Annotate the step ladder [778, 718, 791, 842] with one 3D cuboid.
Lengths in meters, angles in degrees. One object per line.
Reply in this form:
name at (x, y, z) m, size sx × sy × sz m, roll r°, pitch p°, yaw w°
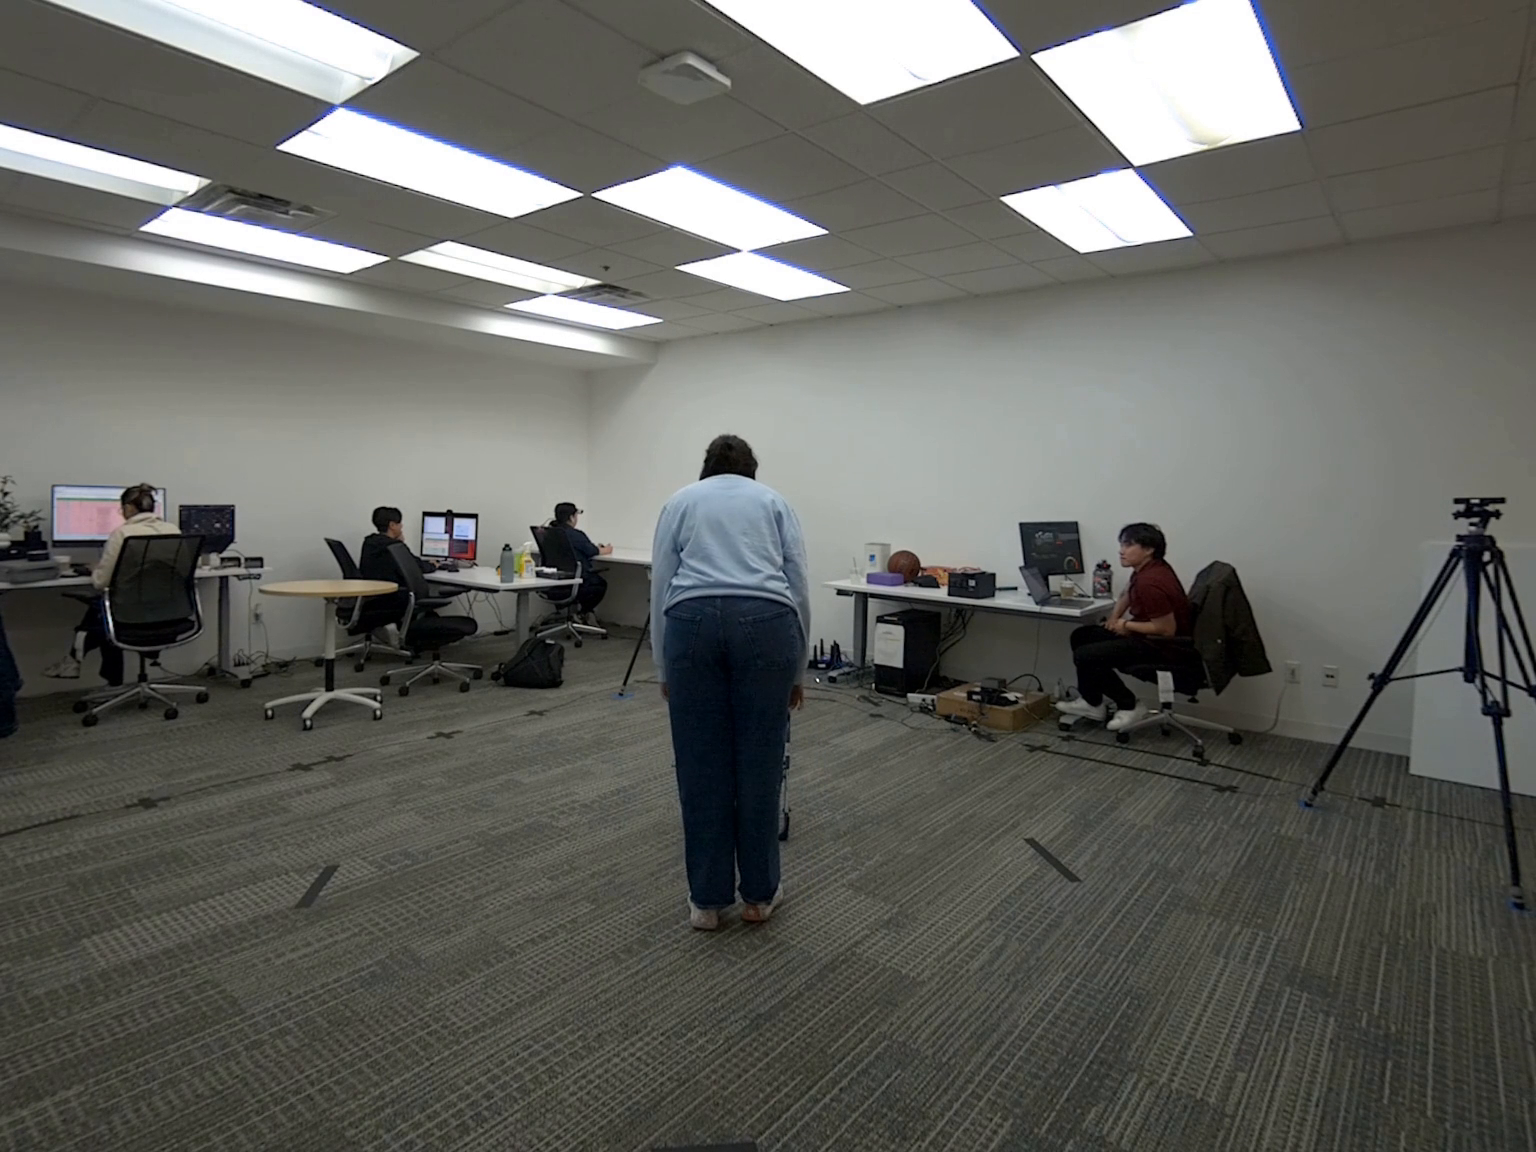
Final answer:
step ladder at (-0.123, 0.720, 3.548) m, size 0.433 × 0.604 × 0.348 m, roll 1°, pitch 3°, yaw 4°
